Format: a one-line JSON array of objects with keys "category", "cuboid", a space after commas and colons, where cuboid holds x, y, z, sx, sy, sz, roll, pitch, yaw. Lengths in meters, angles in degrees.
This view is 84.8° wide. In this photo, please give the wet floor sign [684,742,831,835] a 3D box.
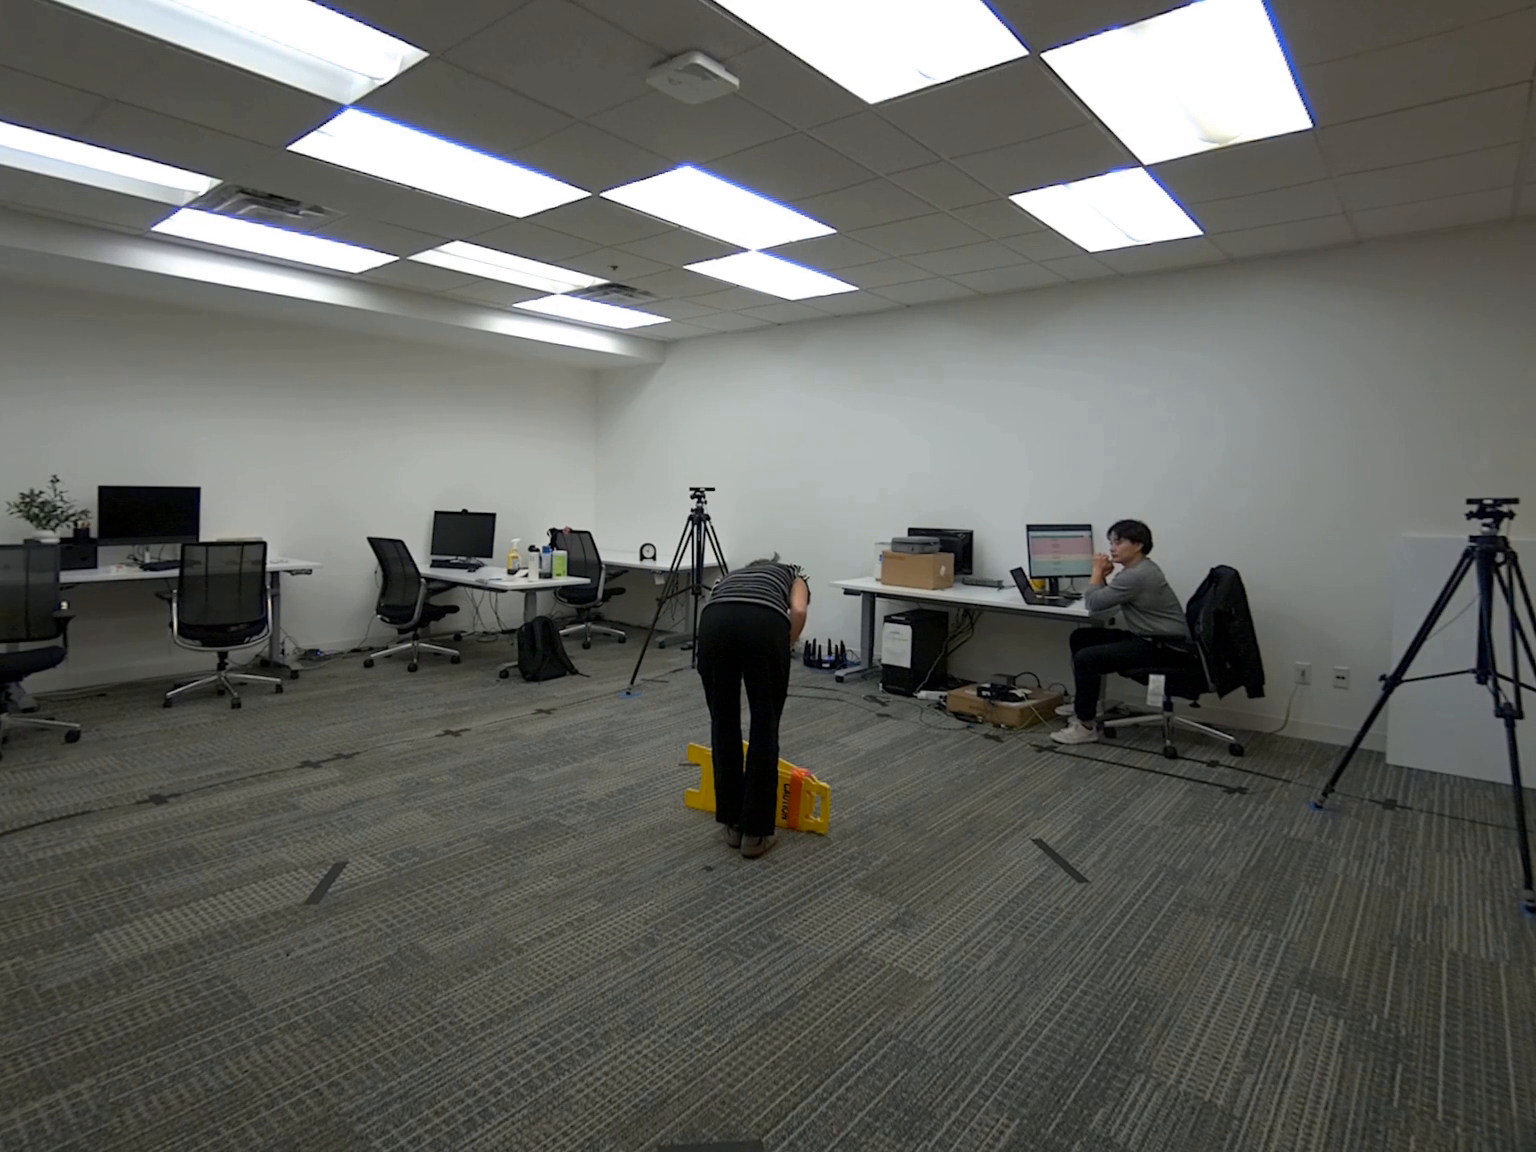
[{"category": "wet floor sign", "cuboid": [-0.029, 0.895, 3.620, 0.668, 0.281, 0.281, 8, 7, 36]}]
